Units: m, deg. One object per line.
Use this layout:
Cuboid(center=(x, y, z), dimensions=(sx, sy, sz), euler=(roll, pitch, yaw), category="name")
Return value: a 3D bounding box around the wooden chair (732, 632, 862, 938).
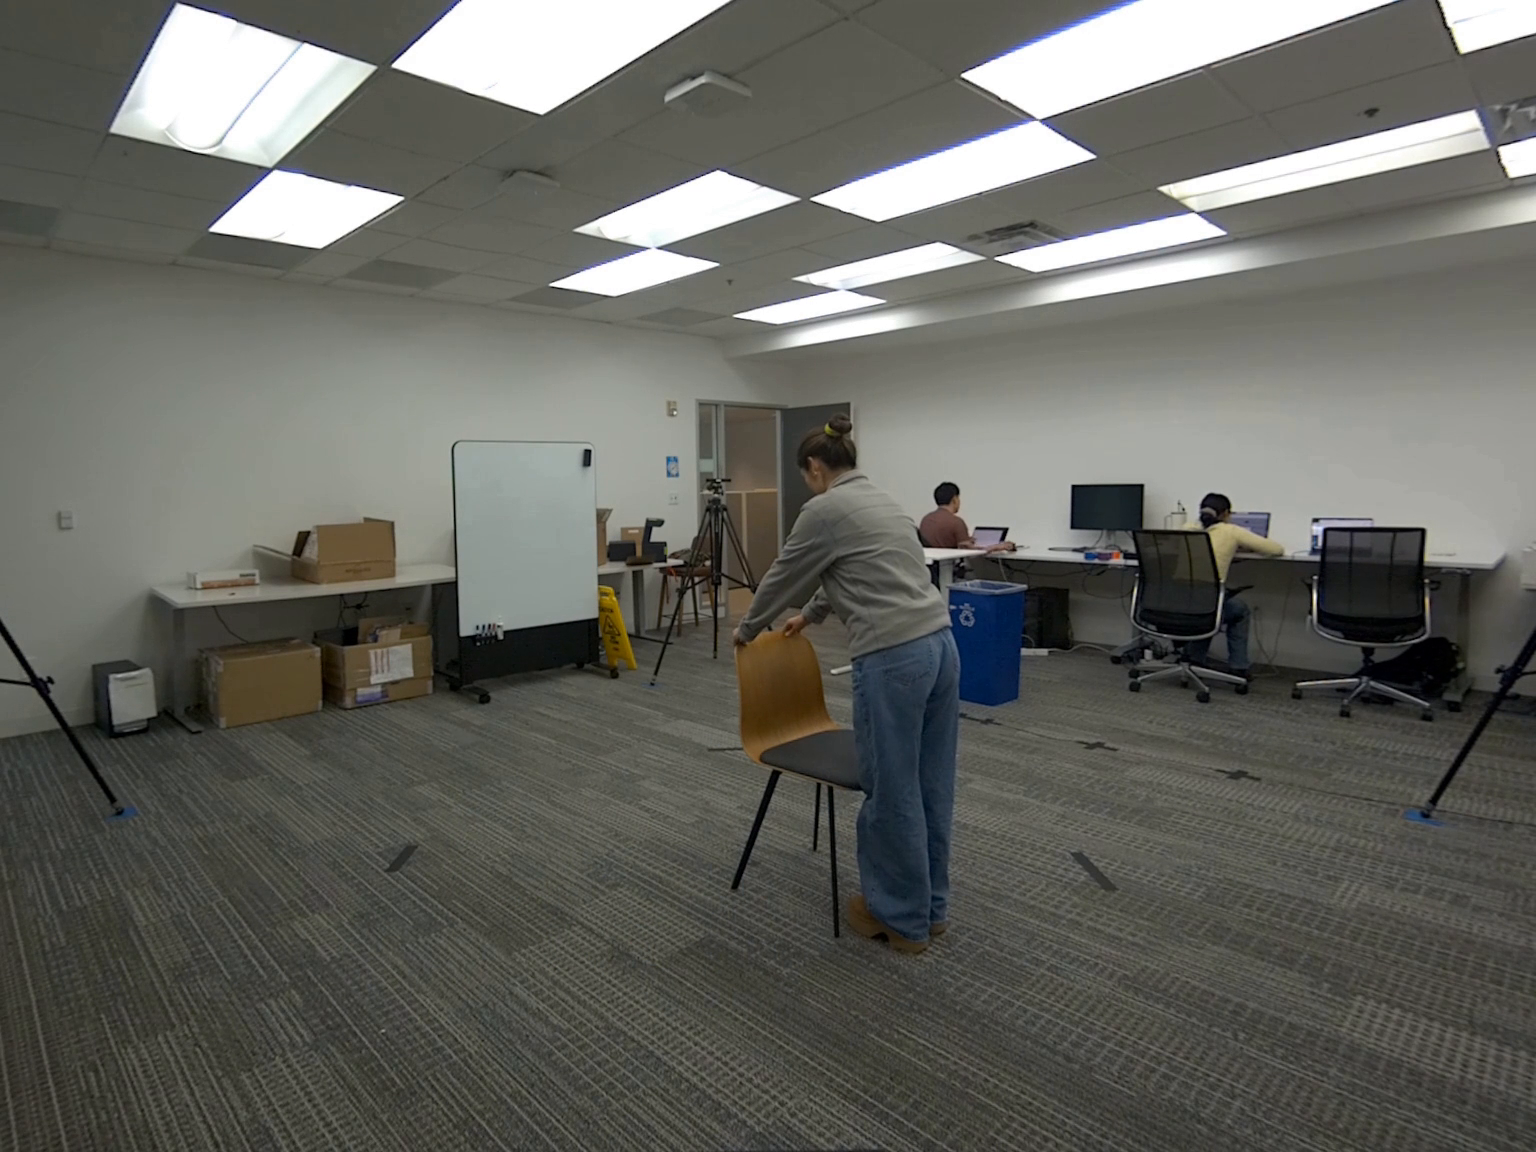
Cuboid(center=(0.190, 0.640, 2.874), dimensions=(0.538, 0.876, 0.465), euler=(-2, 2, 44), category="wooden chair")
